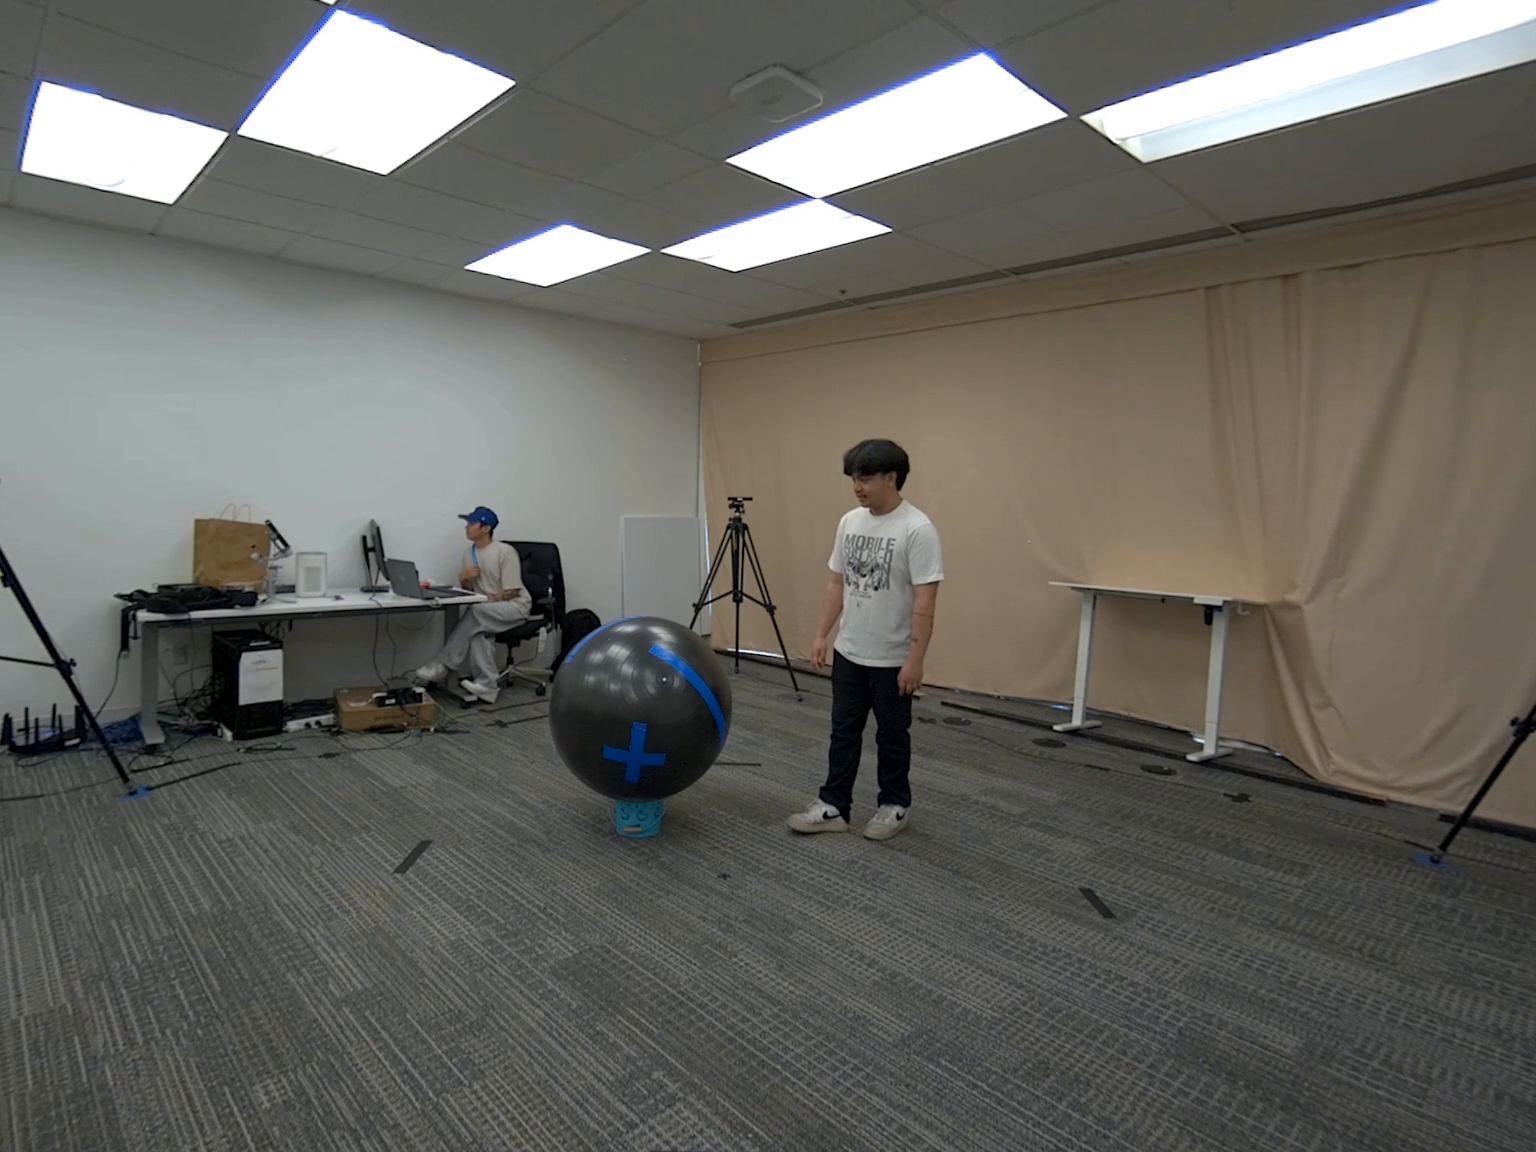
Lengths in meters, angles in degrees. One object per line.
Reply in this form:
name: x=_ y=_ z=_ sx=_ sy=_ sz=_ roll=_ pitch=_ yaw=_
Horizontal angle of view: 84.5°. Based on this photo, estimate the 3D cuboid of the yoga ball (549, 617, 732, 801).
yoga ball: x=-0.534 y=0.553 z=3.510 sx=0.757 sy=0.756 sz=0.760 roll=1 pitch=4 yaw=-1
